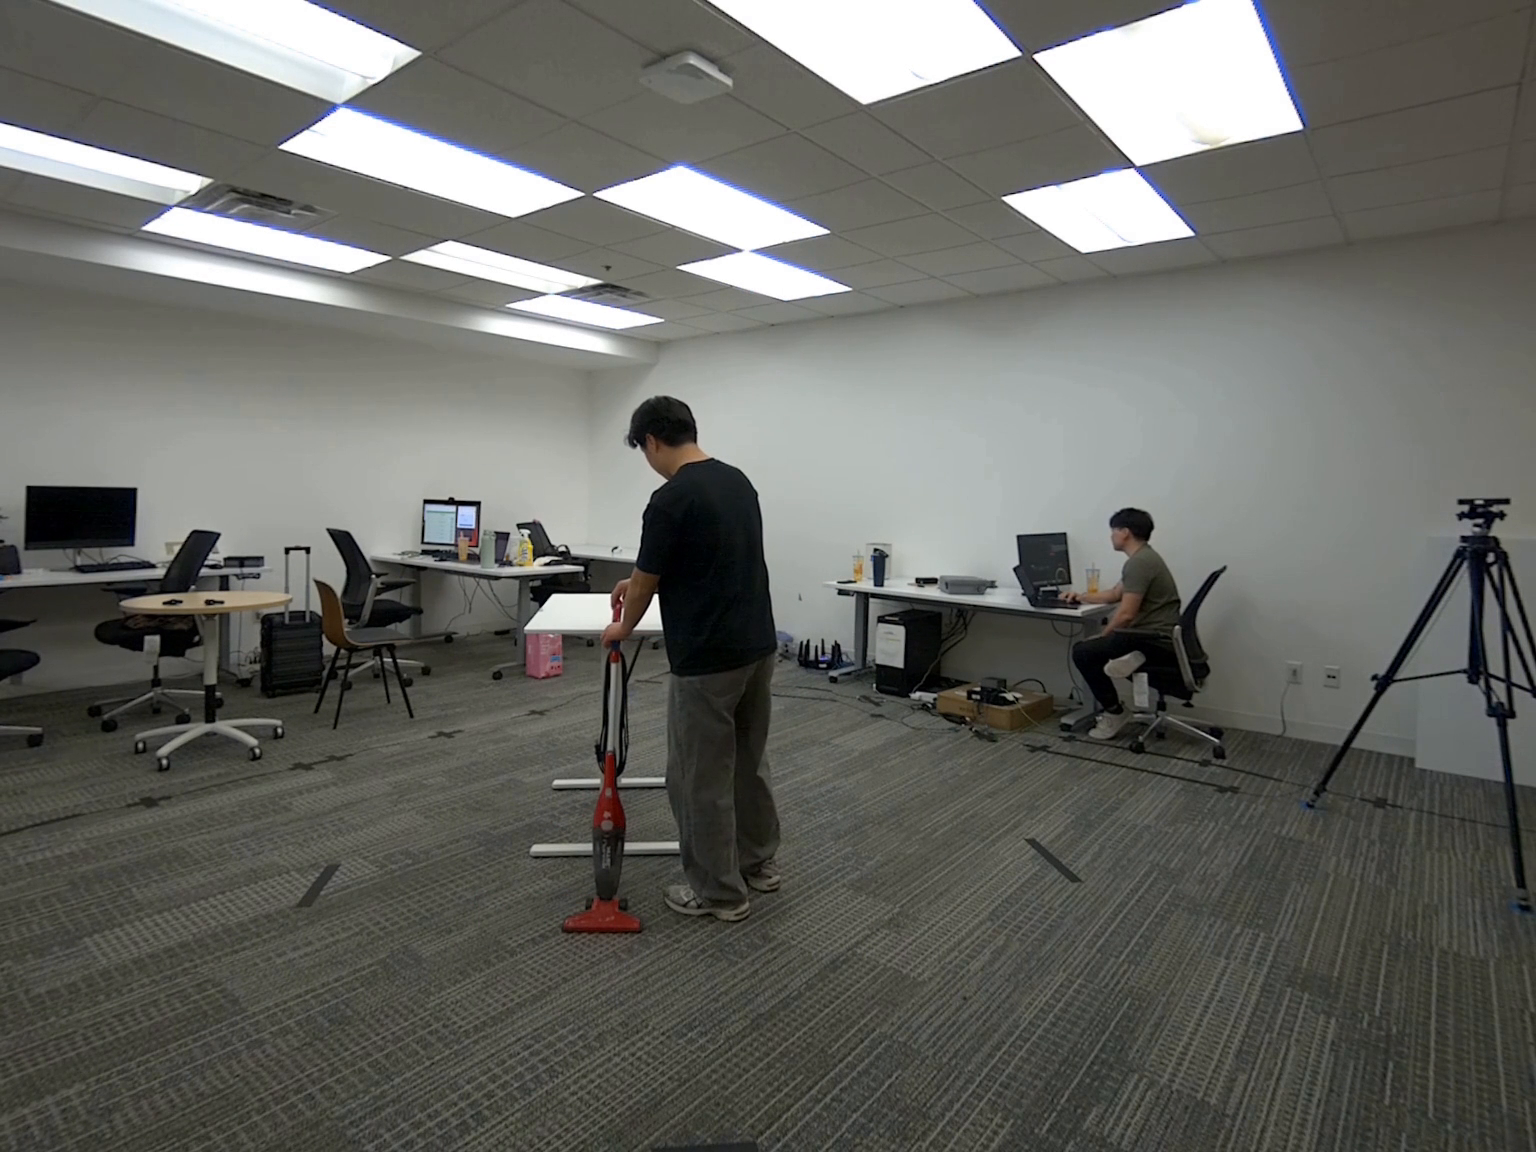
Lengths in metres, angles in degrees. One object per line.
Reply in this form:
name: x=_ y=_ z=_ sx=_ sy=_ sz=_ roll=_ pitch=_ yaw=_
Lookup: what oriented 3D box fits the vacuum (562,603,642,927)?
vacuum: x=-0.537 y=0.596 z=2.900 sx=0.252 sy=1.069 sz=0.142 roll=1 pitch=-20 yaw=-3
